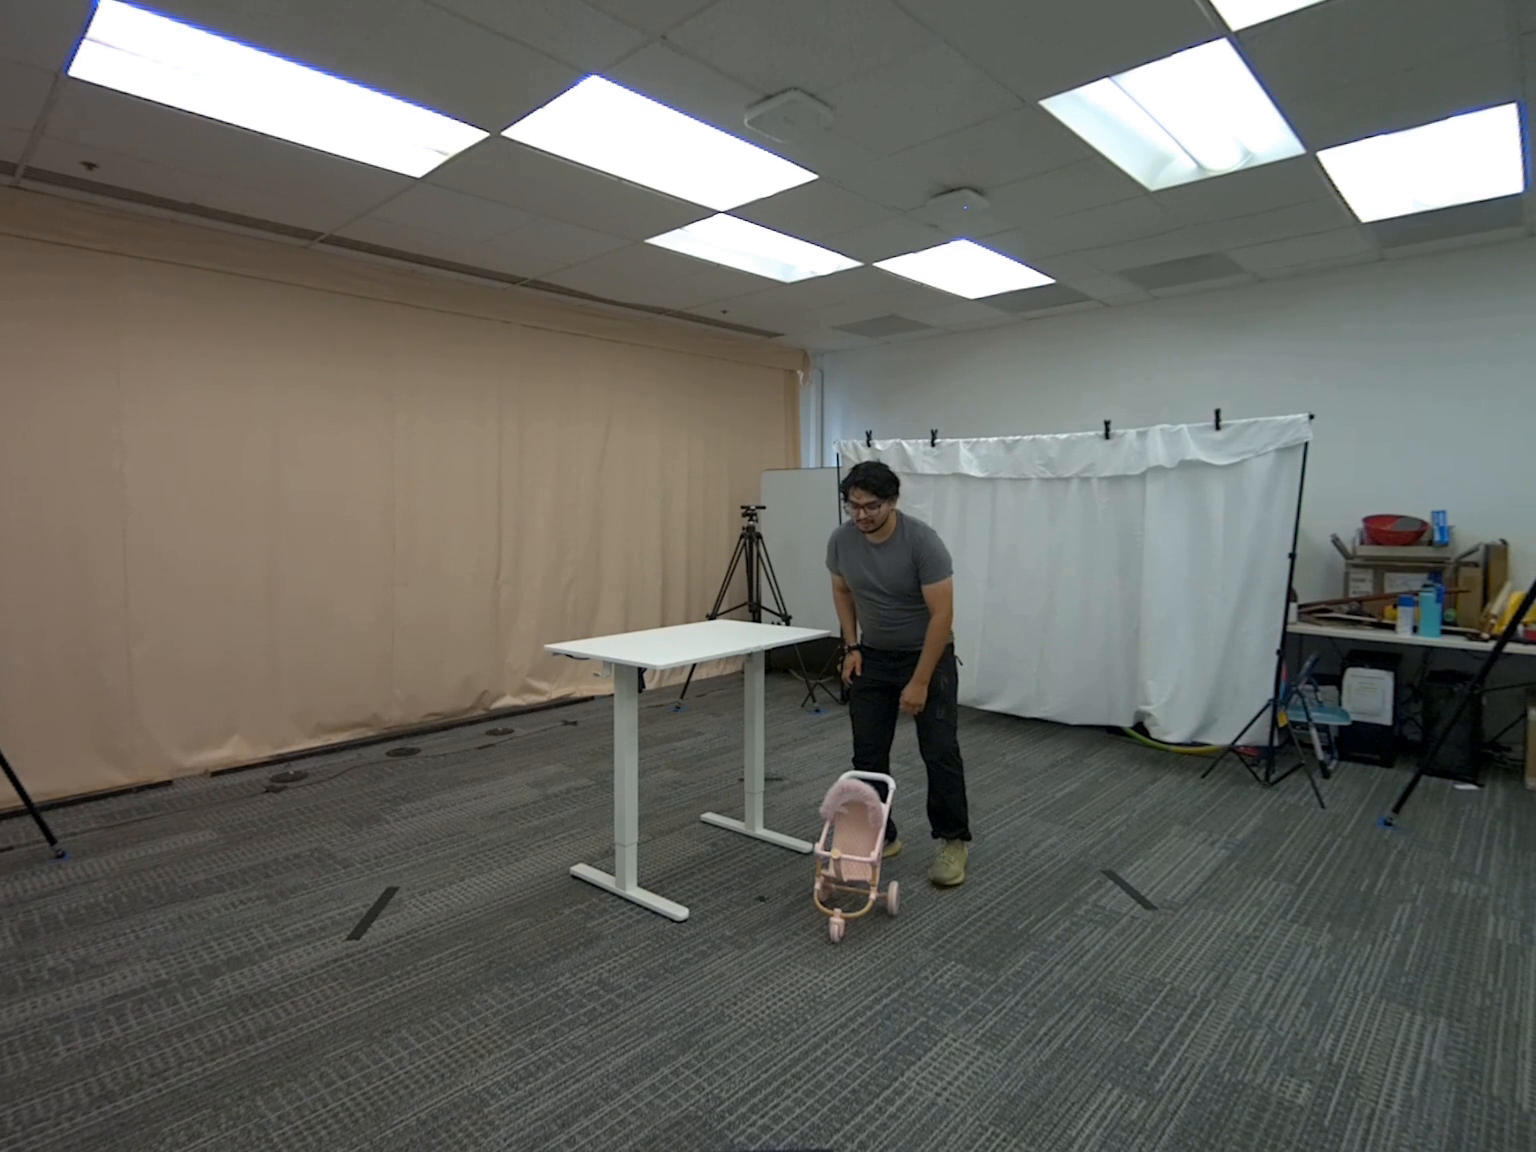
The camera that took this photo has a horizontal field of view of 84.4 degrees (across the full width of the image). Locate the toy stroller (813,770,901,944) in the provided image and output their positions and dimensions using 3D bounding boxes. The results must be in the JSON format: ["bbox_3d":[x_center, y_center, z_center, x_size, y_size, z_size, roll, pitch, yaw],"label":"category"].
[{"bbox_3d":[0.288,0.932,2.848,0.289,0.538,0.330,0,-14,26],"label":"toy stroller"}]
